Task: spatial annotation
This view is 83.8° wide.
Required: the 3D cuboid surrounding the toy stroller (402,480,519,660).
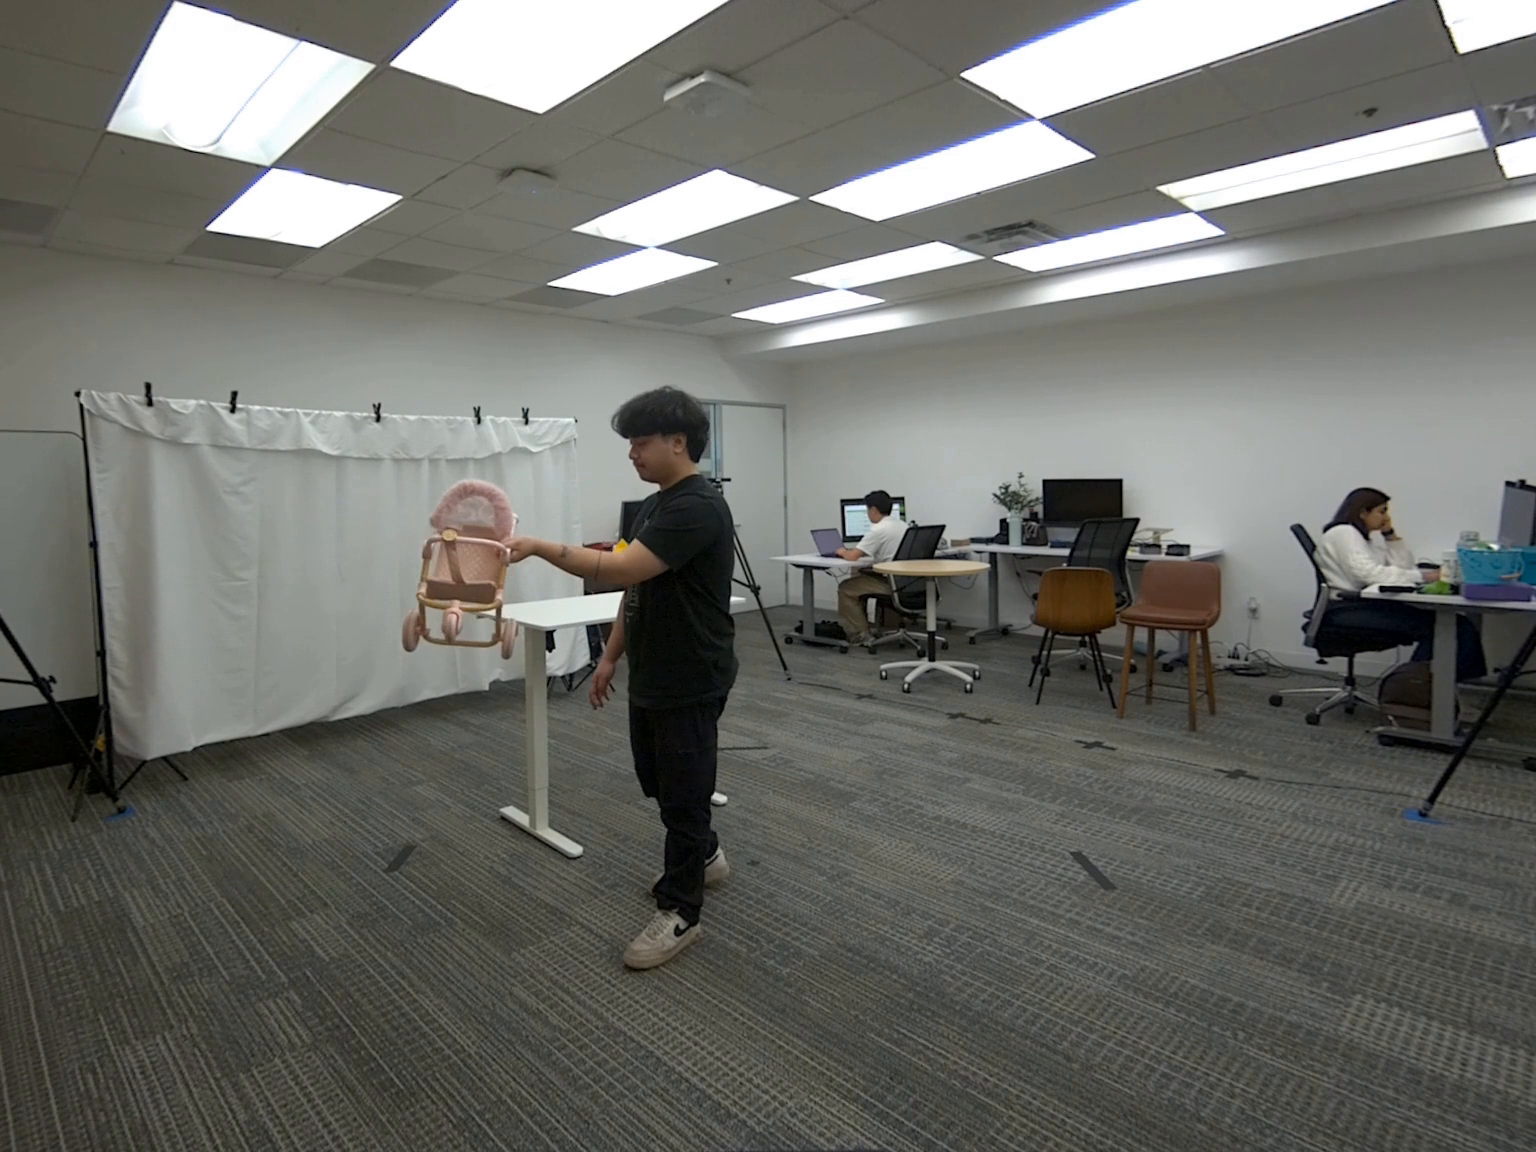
[{"bbox_3d":[-0.788,-0.026,2.236,0.279,0.548,0.336,4,-29,-10],"label":"toy stroller"}]
